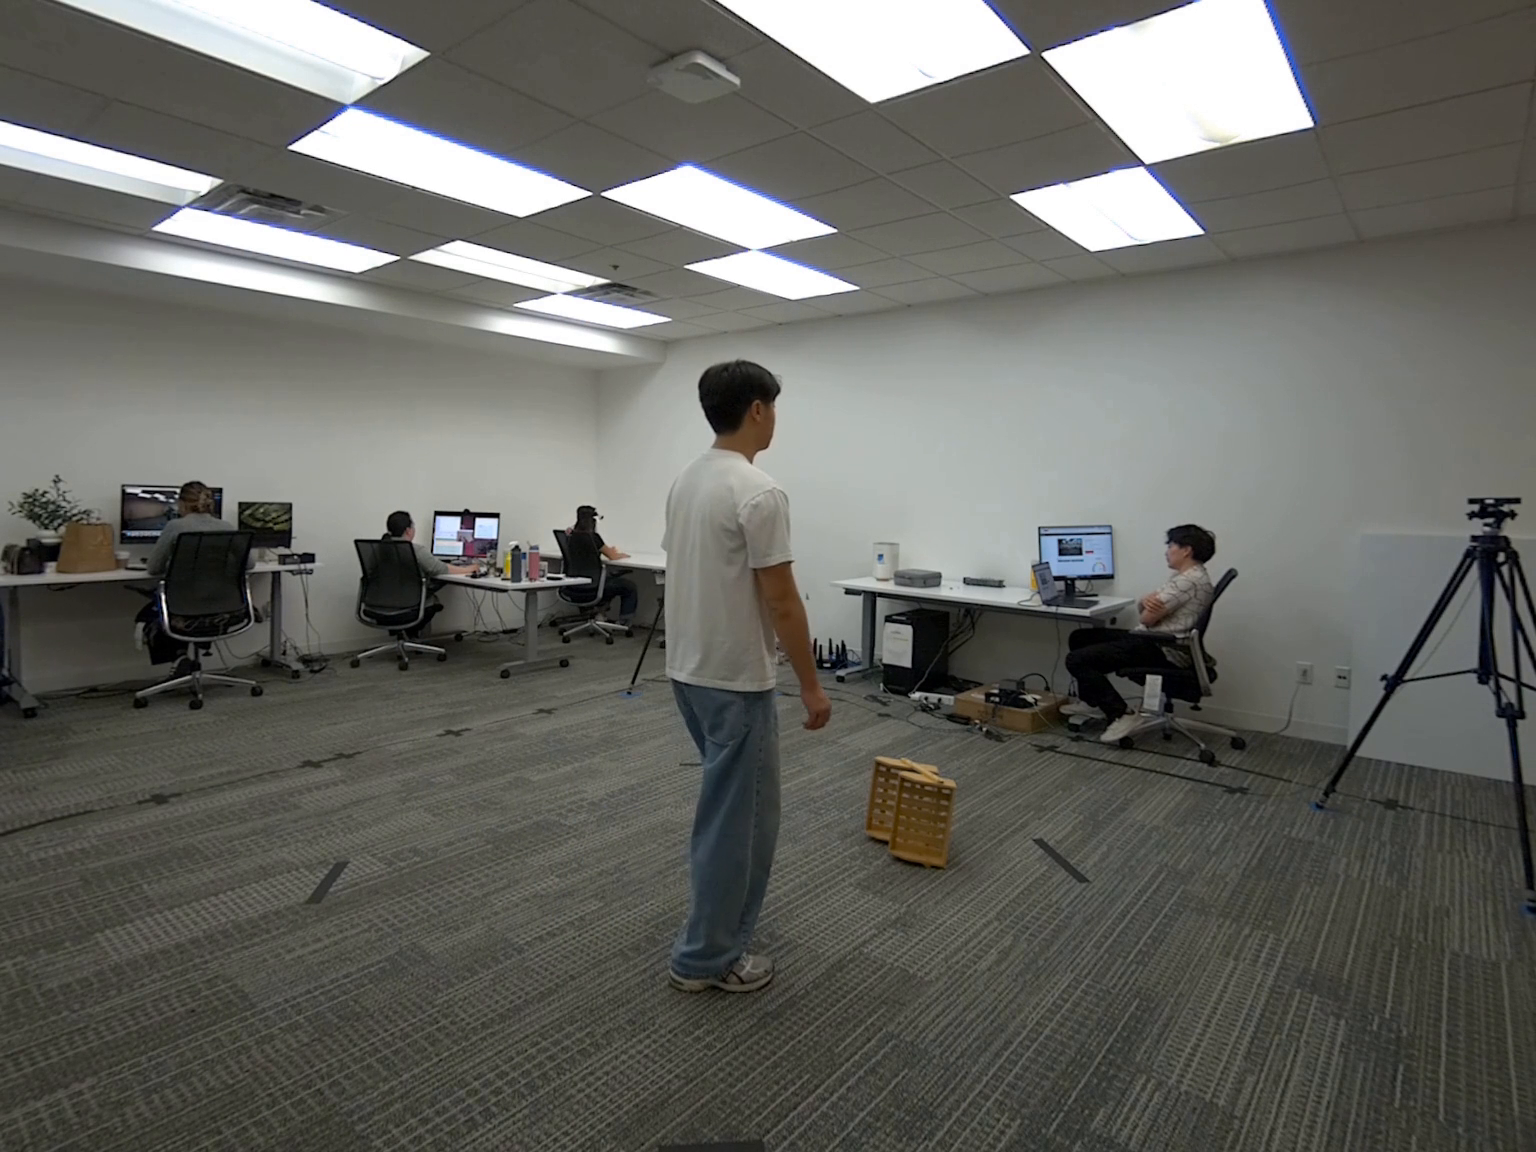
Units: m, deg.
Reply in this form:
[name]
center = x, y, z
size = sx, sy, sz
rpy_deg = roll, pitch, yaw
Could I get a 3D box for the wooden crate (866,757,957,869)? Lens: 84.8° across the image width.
[wooden crate]
center = 0.533, 0.897, 3.288
size = 0.305, 0.324, 0.271
rpy_deg = 7, 2, 8
